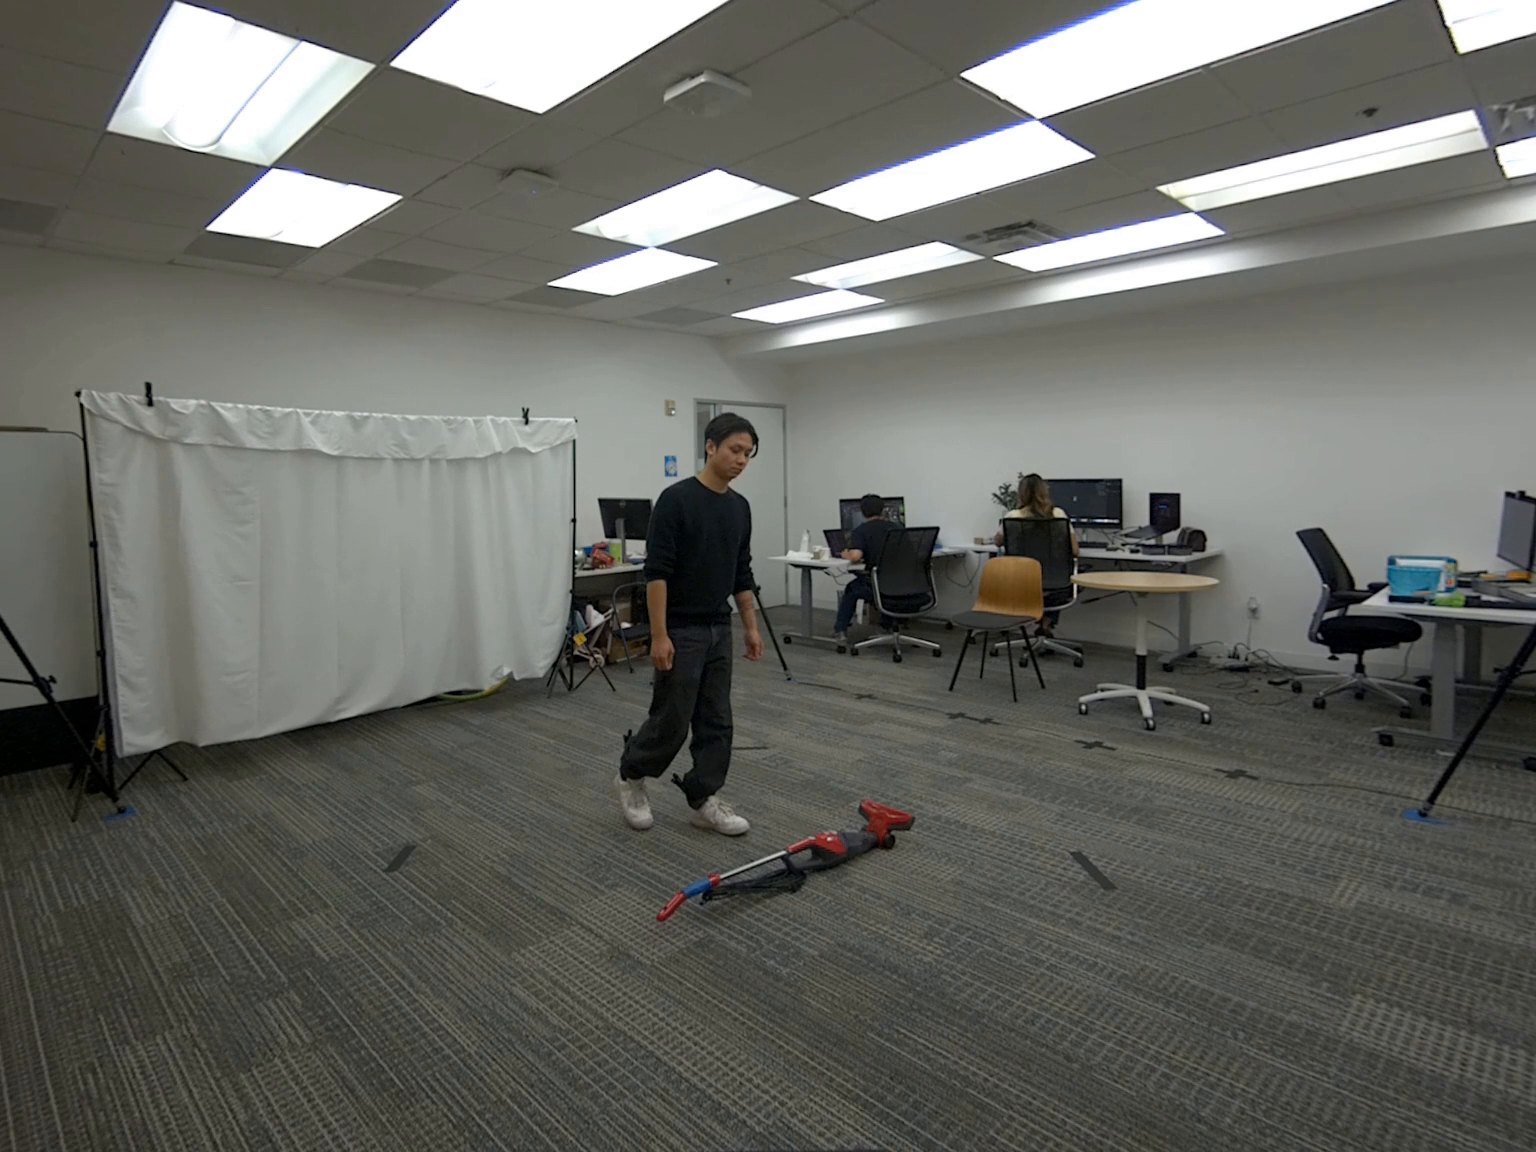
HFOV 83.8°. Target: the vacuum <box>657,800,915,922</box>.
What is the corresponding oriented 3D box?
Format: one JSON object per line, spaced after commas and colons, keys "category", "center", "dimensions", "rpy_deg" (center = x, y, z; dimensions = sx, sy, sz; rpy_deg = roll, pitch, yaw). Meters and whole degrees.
{"category": "vacuum", "center": [0.060, 0.999, 2.935], "dimensions": [1.023, 0.143, 0.260], "rpy_deg": [-7, 6, -40]}
